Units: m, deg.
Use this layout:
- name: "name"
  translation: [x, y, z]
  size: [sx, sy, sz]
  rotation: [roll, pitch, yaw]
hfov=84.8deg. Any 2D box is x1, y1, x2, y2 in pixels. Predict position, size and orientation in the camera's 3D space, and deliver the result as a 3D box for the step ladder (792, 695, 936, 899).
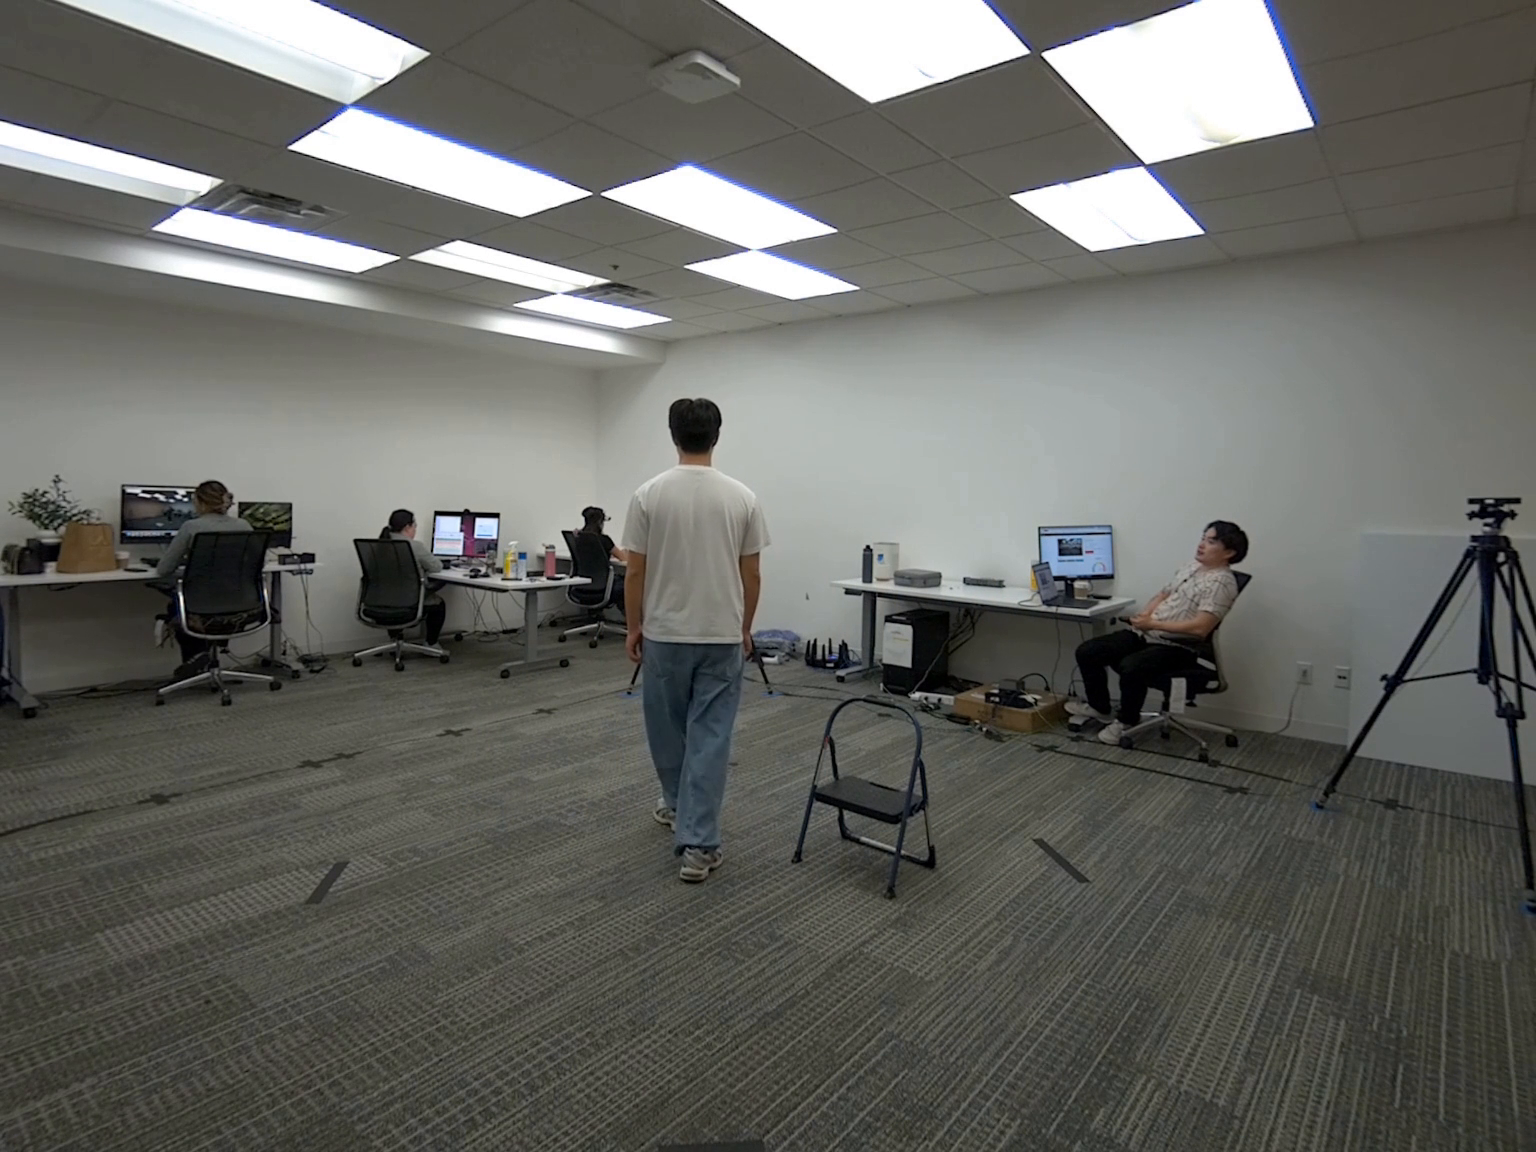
- name: "step ladder"
  translation: [0.362, 0.771, 3.155]
  size: [0.445, 0.604, 0.339]
  rotation: [5, 5, 39]
